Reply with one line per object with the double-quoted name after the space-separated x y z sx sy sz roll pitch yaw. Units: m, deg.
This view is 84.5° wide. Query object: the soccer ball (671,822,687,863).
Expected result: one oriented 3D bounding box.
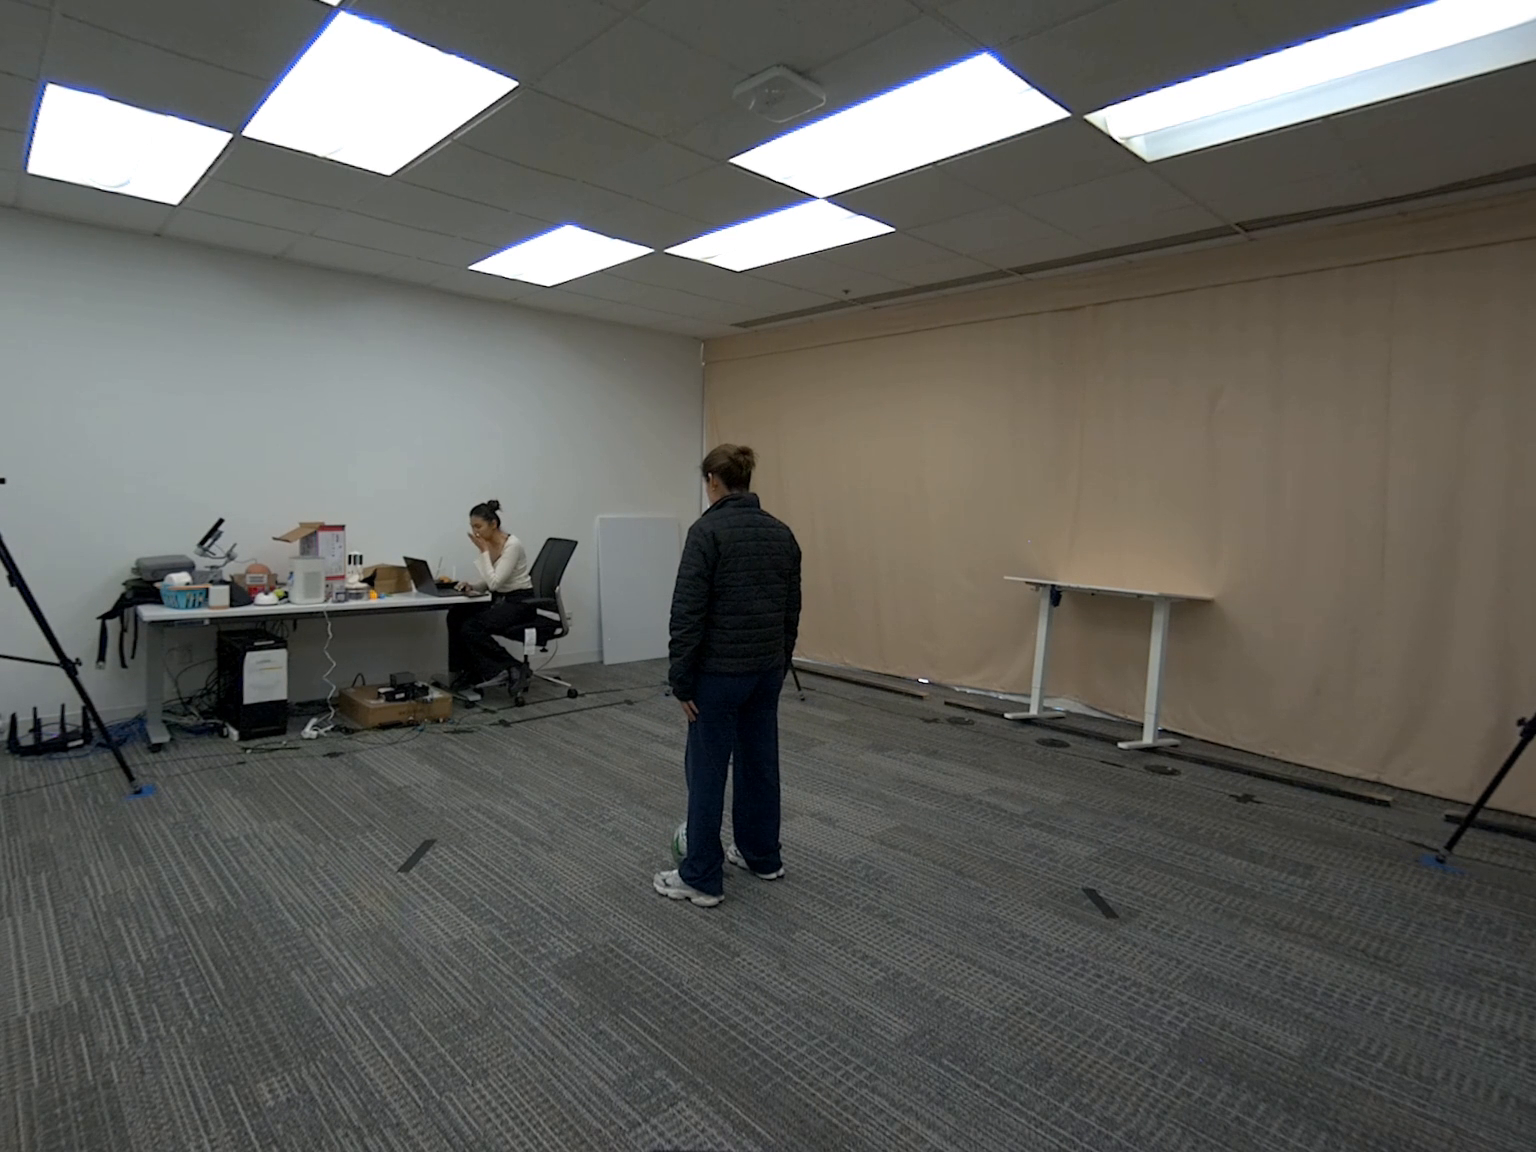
-0.268 1.005 3.143 0.187 0.187 0.188 1 4 -1 "soccer ball"
